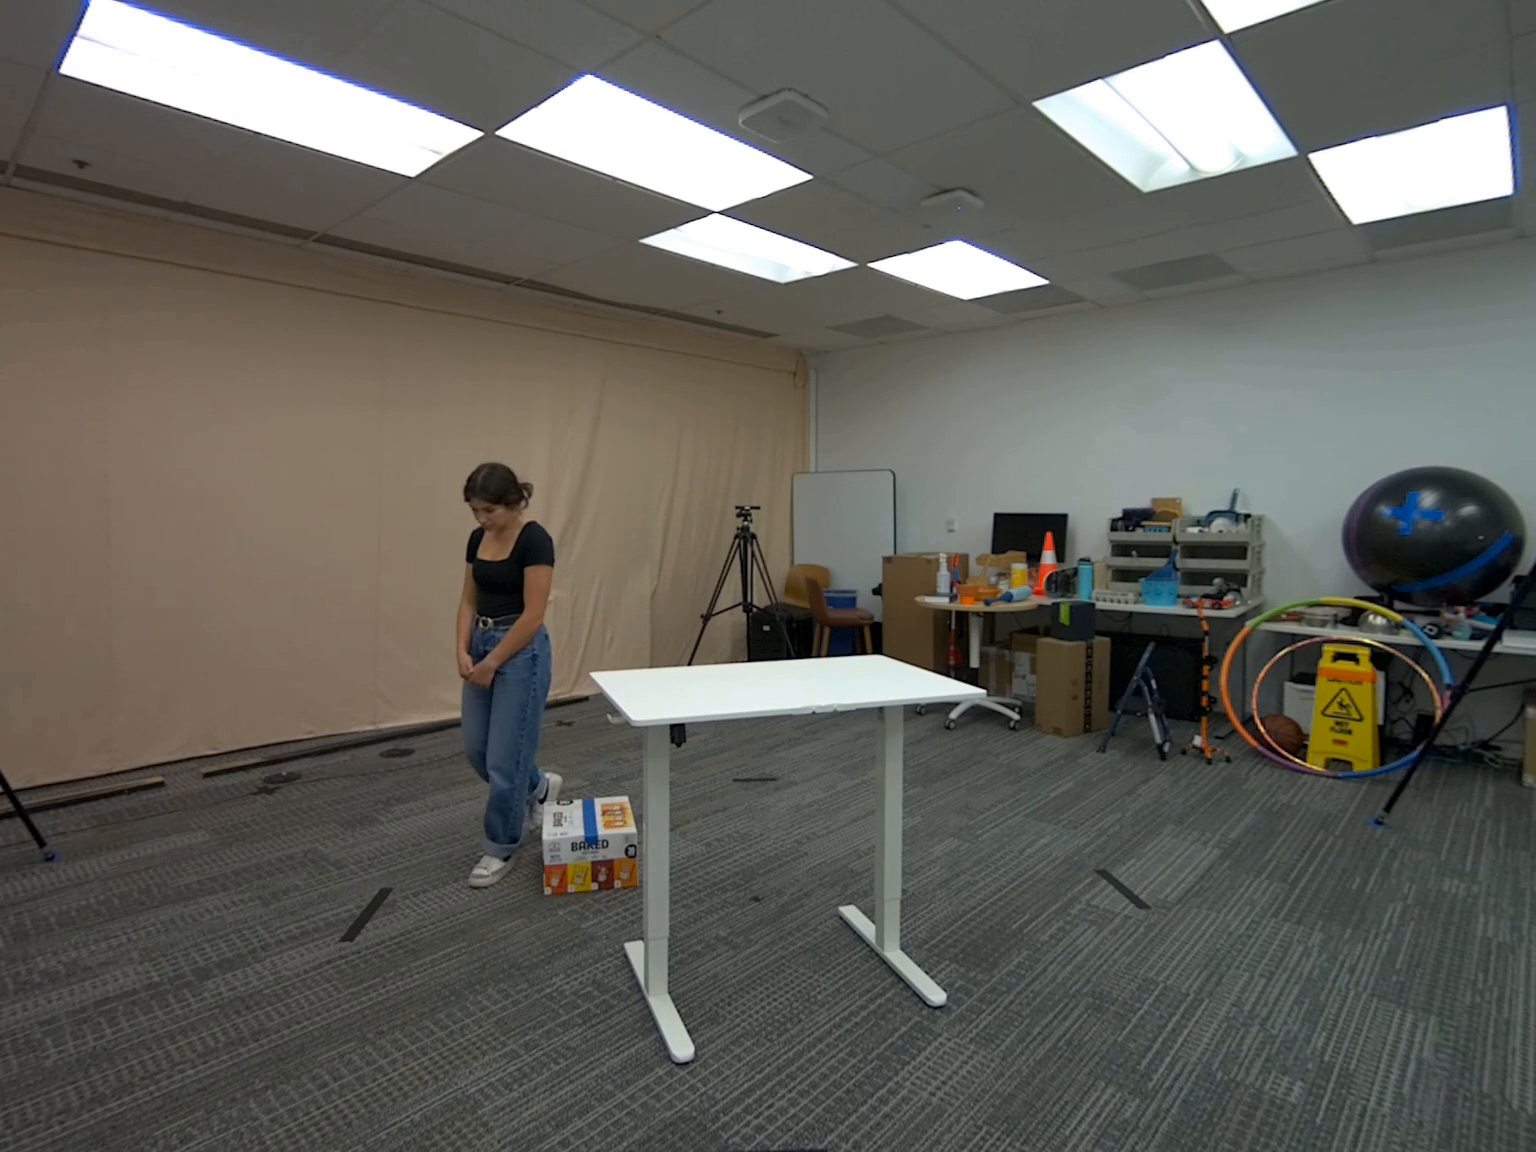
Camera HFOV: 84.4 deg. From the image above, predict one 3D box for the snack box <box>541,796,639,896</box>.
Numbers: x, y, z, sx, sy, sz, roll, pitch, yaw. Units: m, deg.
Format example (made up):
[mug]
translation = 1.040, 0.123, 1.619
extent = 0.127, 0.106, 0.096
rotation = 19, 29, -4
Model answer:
[snack box]
translation = -0.695, 1.028, 3.241
extent = 0.336, 0.205, 0.411
rotation = -2, 4, -13
